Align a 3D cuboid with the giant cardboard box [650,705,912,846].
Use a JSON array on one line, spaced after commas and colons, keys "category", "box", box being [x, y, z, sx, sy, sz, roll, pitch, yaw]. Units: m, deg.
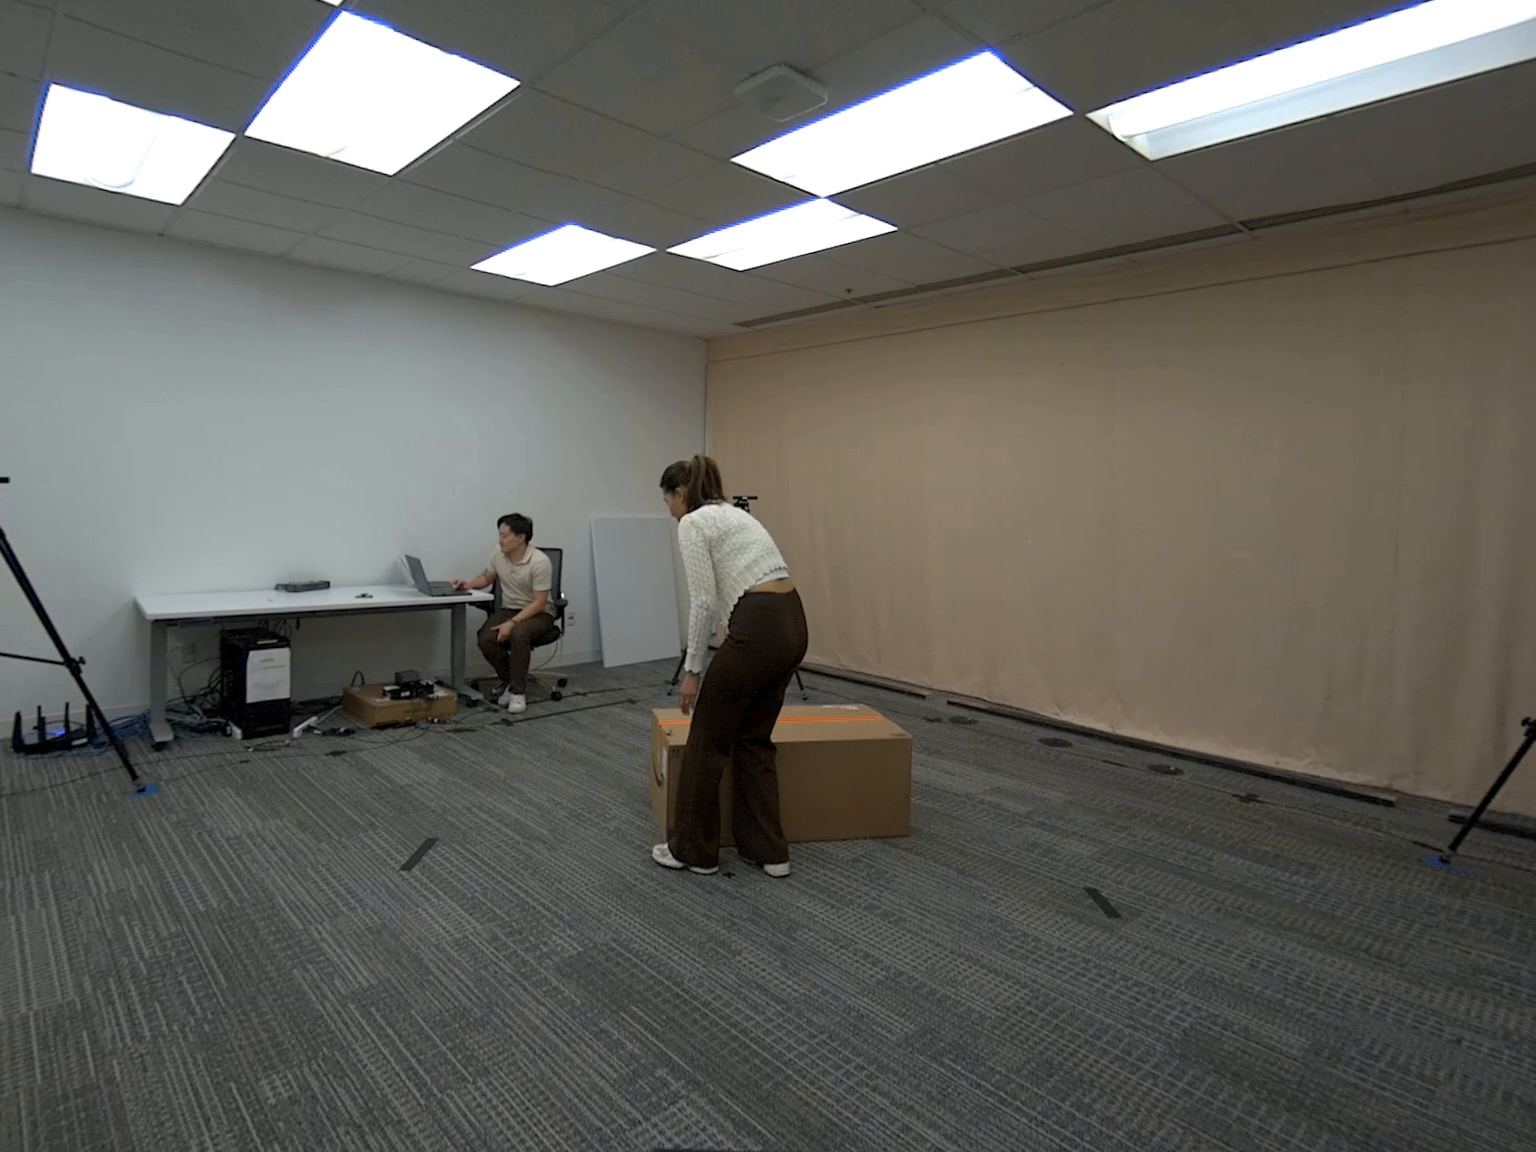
[{"category": "giant cardboard box", "box": [0.027, 0.840, 3.672, 1.016, 0.425, 0.584, 0, 4, -12]}]
